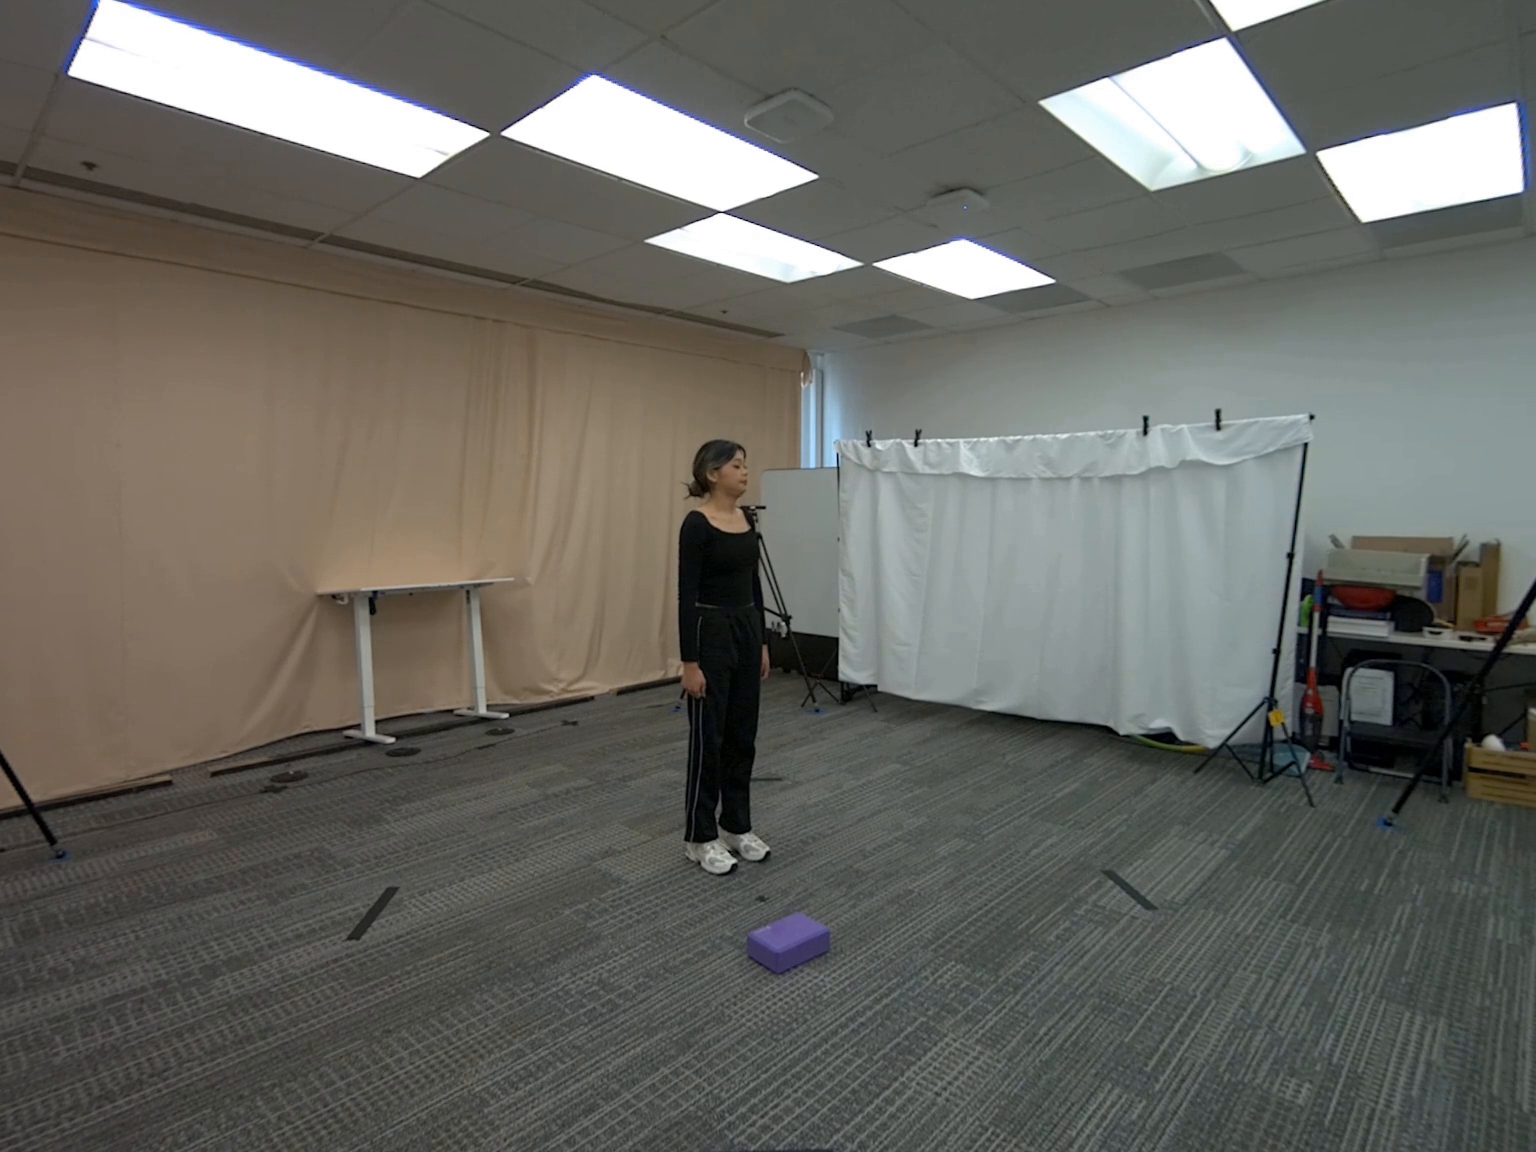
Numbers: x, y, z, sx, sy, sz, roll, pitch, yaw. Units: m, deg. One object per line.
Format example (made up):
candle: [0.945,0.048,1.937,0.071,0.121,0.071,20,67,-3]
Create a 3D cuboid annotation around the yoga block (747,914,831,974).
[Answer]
yoga block: [0.071,1.137,2.611,0.222,0.076,0.154,-4,6,-40]
